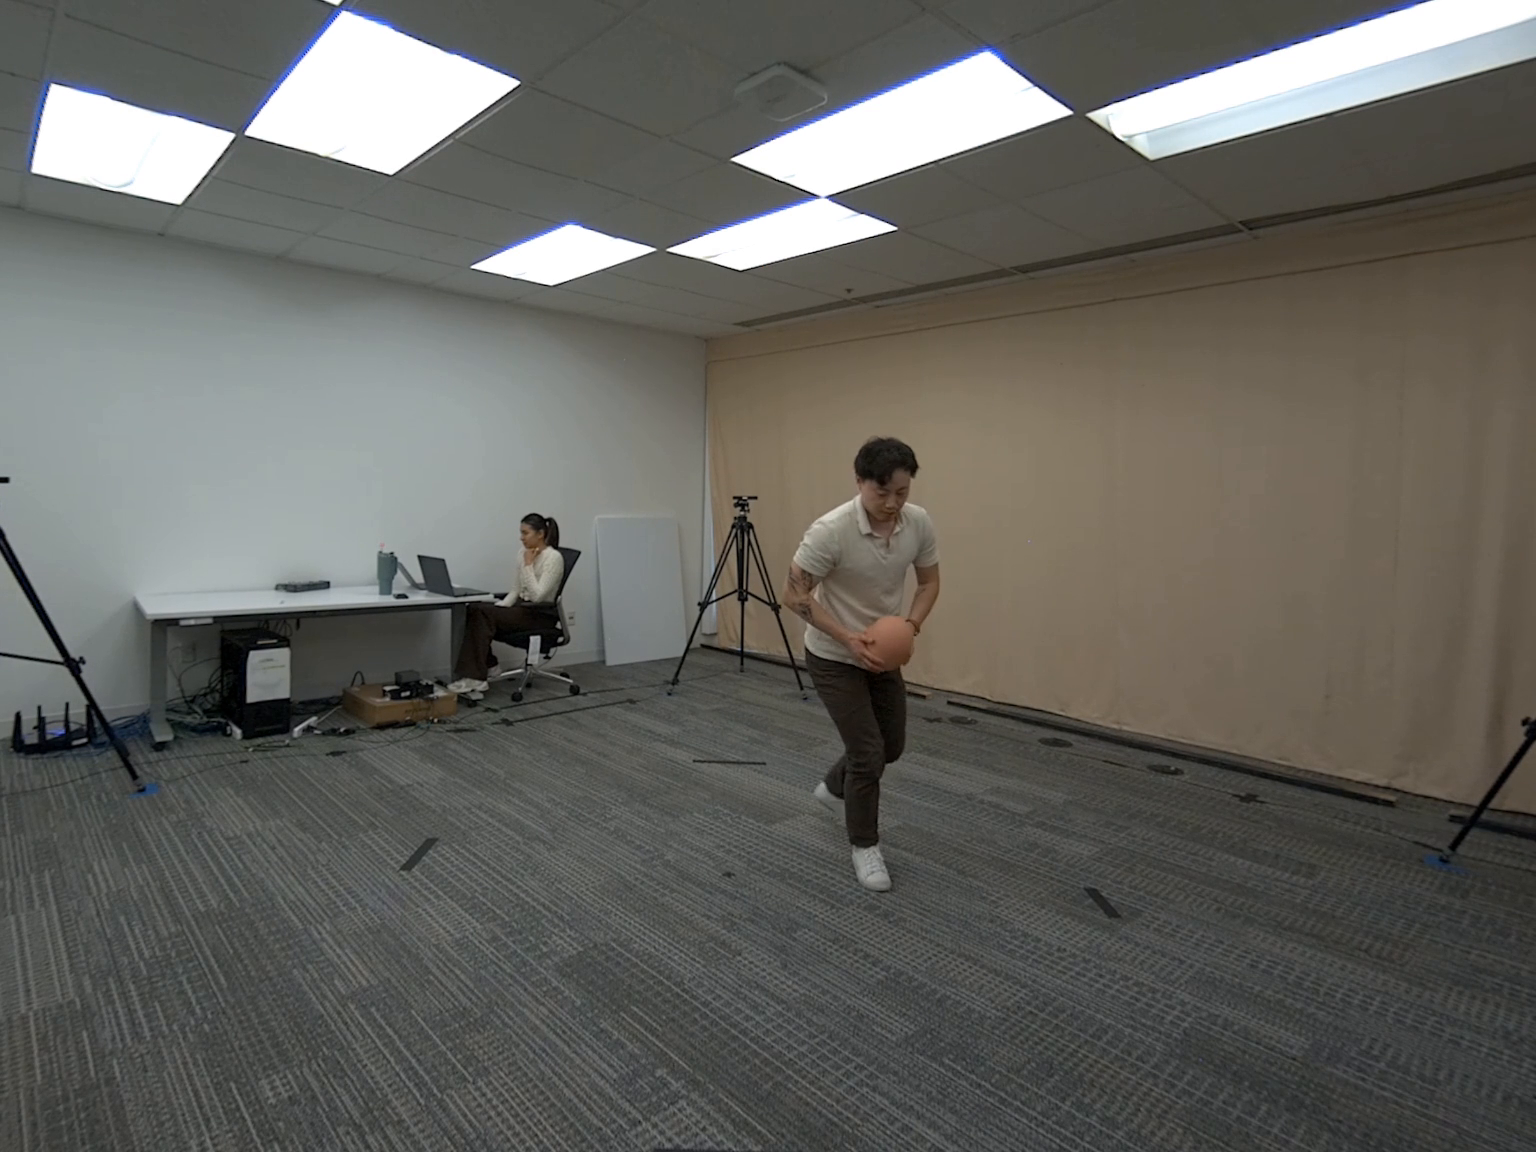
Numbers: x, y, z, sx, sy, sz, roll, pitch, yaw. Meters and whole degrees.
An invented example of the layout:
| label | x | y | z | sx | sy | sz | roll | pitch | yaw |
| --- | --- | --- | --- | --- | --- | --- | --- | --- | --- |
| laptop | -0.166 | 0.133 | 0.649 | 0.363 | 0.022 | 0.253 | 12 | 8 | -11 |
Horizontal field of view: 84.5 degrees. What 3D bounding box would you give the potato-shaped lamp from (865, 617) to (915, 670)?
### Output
| label | x | y | z | sx | sy | sz | roll | pitch | yaw |
| --- | --- | --- | --- | --- | --- | --- | --- | --- | --- |
| potato-shaped lamp | 0.375 | 0.222 | 2.850 | 0.163 | 0.194 | 0.177 | -19 | 44 | -23 |
